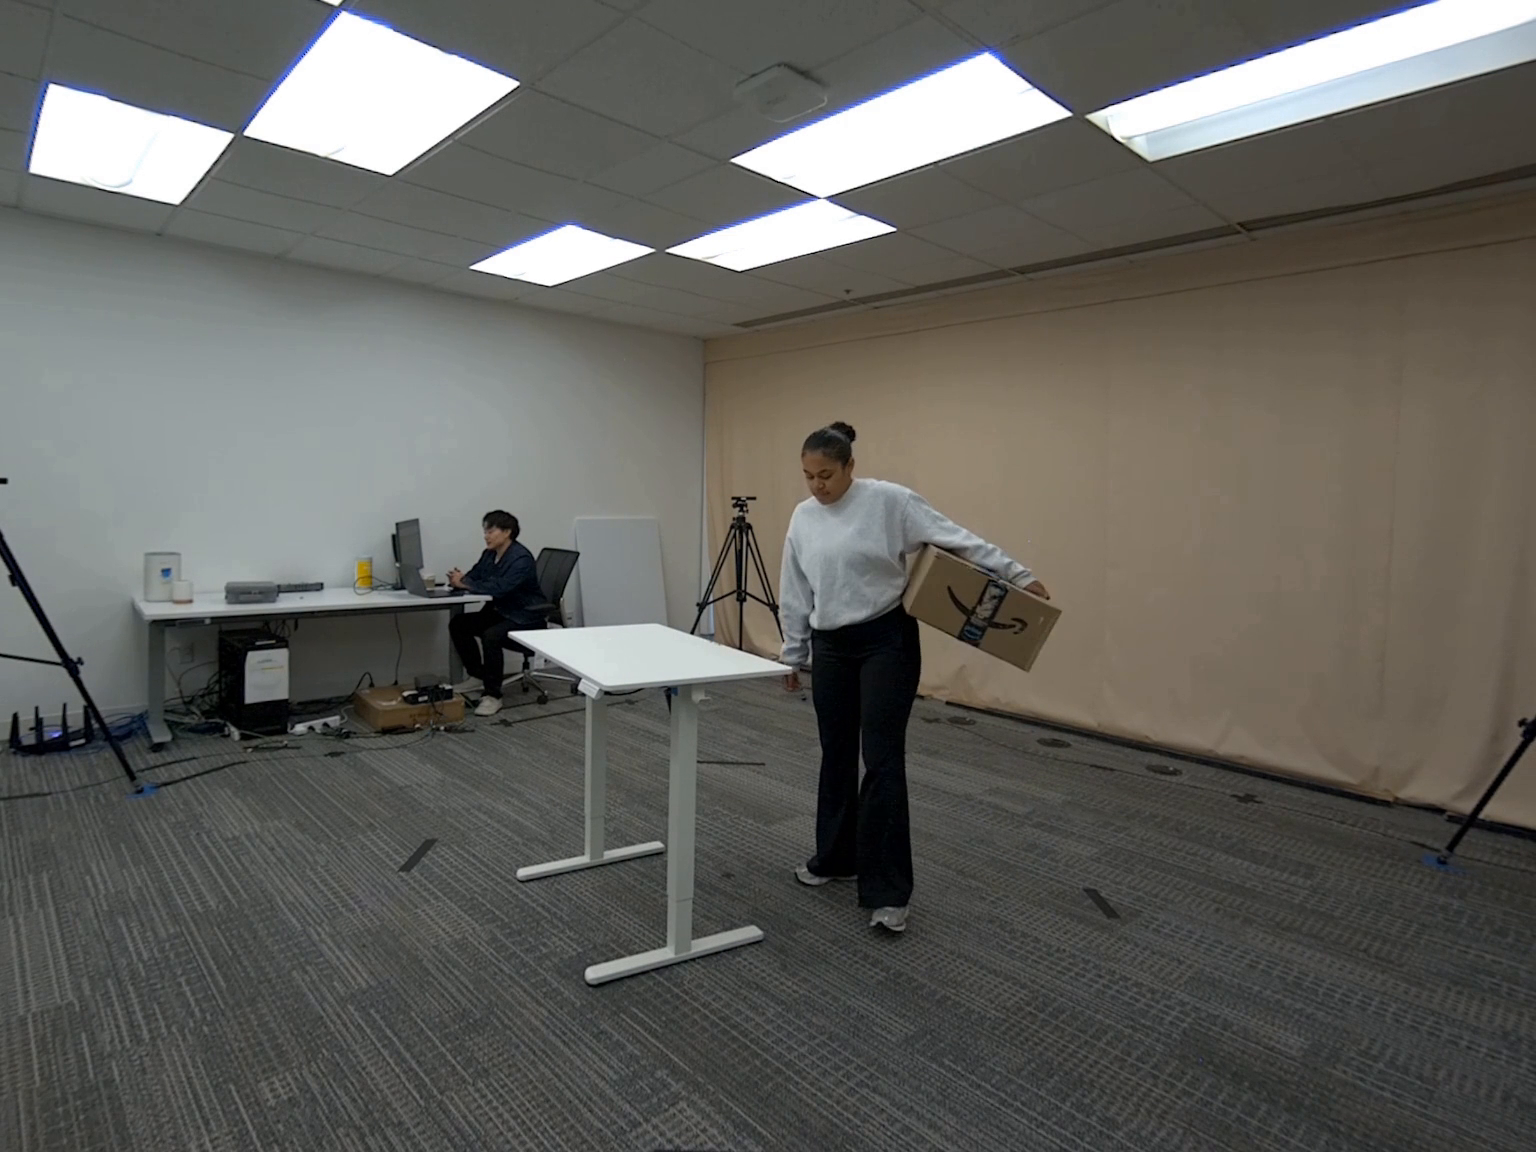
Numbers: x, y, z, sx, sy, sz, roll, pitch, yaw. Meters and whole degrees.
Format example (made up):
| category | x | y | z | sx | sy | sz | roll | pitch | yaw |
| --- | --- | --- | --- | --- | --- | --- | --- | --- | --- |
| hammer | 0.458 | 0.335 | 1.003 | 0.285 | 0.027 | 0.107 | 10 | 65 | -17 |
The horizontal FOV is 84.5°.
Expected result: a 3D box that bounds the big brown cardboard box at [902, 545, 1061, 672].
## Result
| category | x | y | z | sx | sy | sz | roll | pitch | yaw |
| --- | --- | --- | --- | --- | --- | --- | --- | --- | --- |
| big brown cardboard box | 0.679 | 0.068 | 2.834 | 0.419 | 0.232 | 0.588 | 25 | 10 | 3 |
